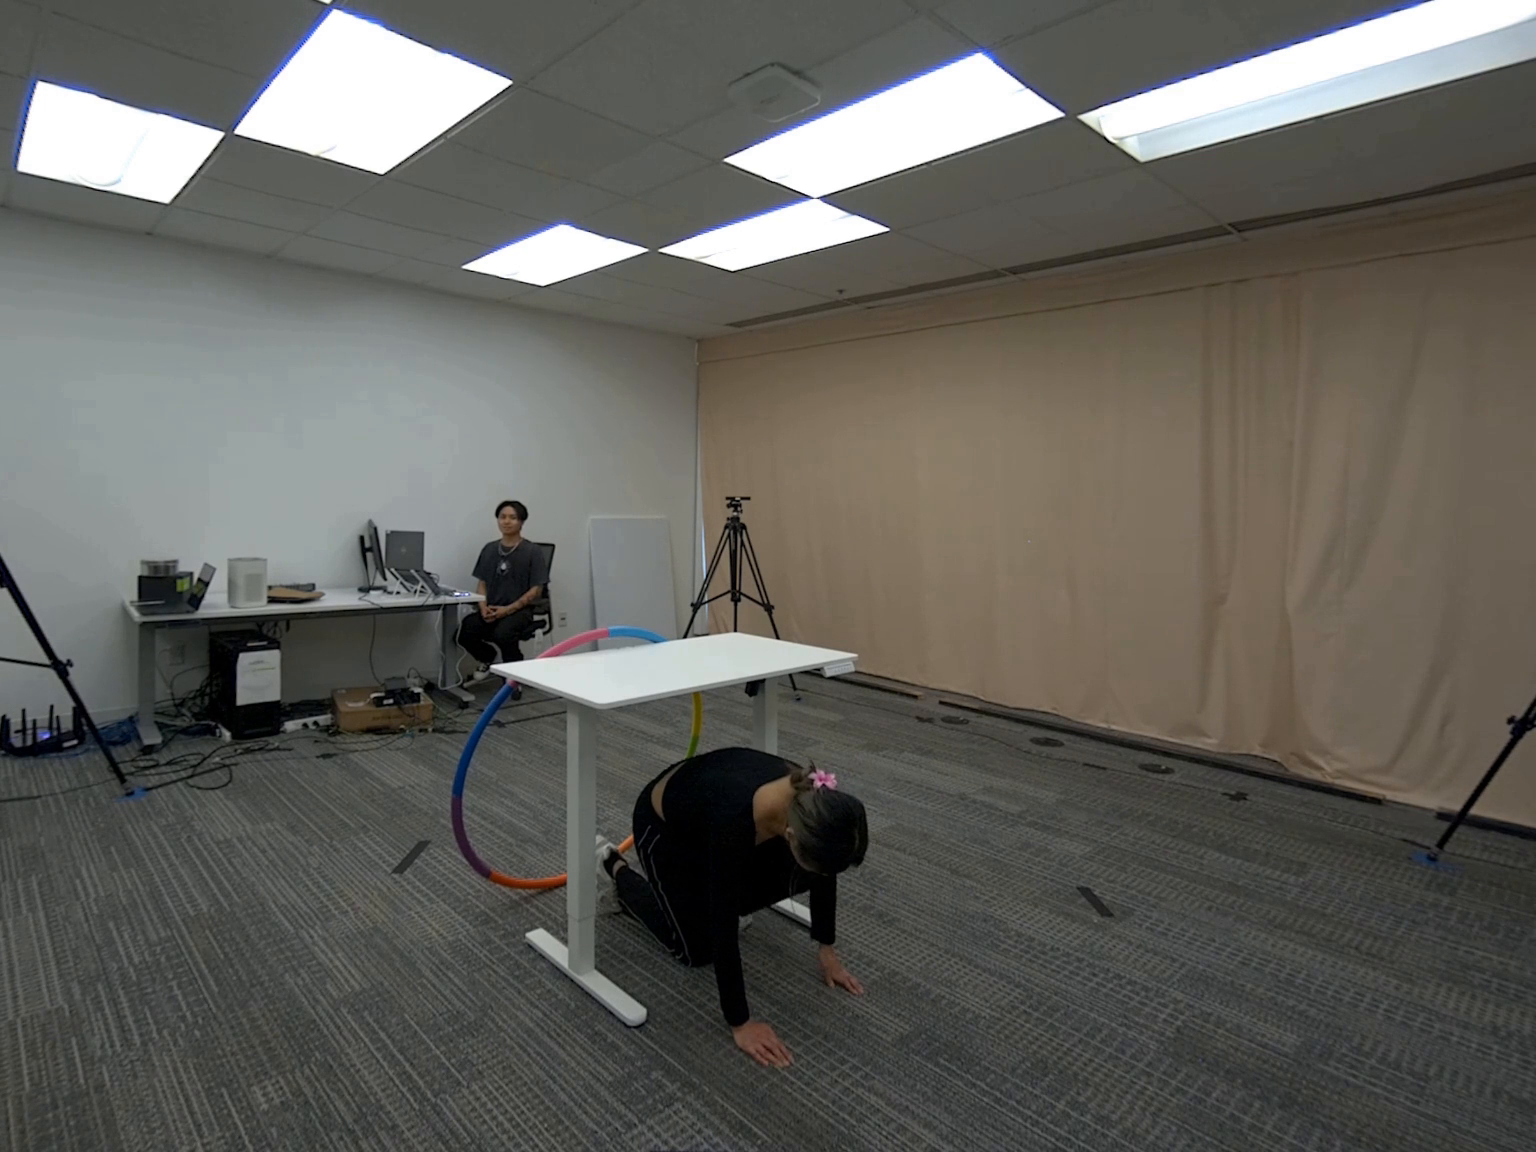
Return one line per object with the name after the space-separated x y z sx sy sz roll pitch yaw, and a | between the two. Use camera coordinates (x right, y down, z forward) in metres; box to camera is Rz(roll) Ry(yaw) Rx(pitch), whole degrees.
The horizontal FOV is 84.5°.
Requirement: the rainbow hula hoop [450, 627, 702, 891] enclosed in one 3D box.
-0.624 0.640 2.912 0.956 0.971 0.036 -3 21 -44 | rainbow hula hoop
